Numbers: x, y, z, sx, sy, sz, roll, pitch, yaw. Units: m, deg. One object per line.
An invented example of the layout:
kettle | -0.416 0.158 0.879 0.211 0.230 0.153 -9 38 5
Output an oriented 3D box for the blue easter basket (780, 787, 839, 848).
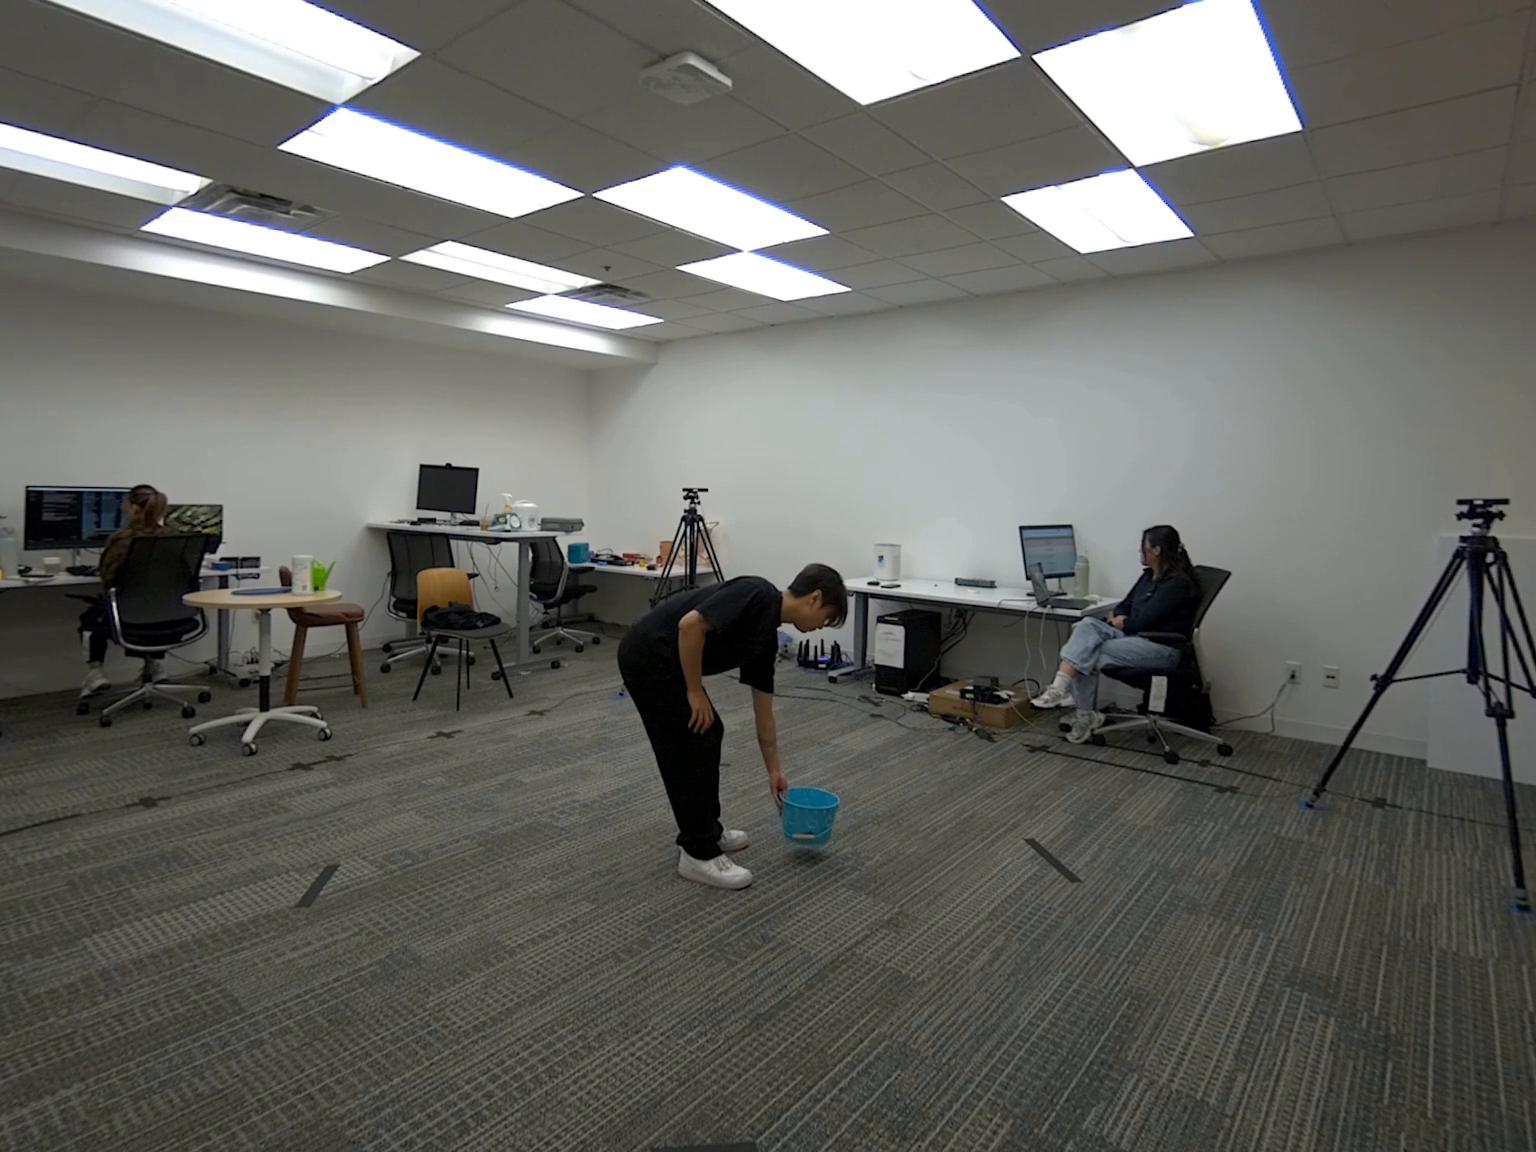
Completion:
blue easter basket | 0.144 0.909 3.251 0.243 0.155 0.244 4 4 -2
